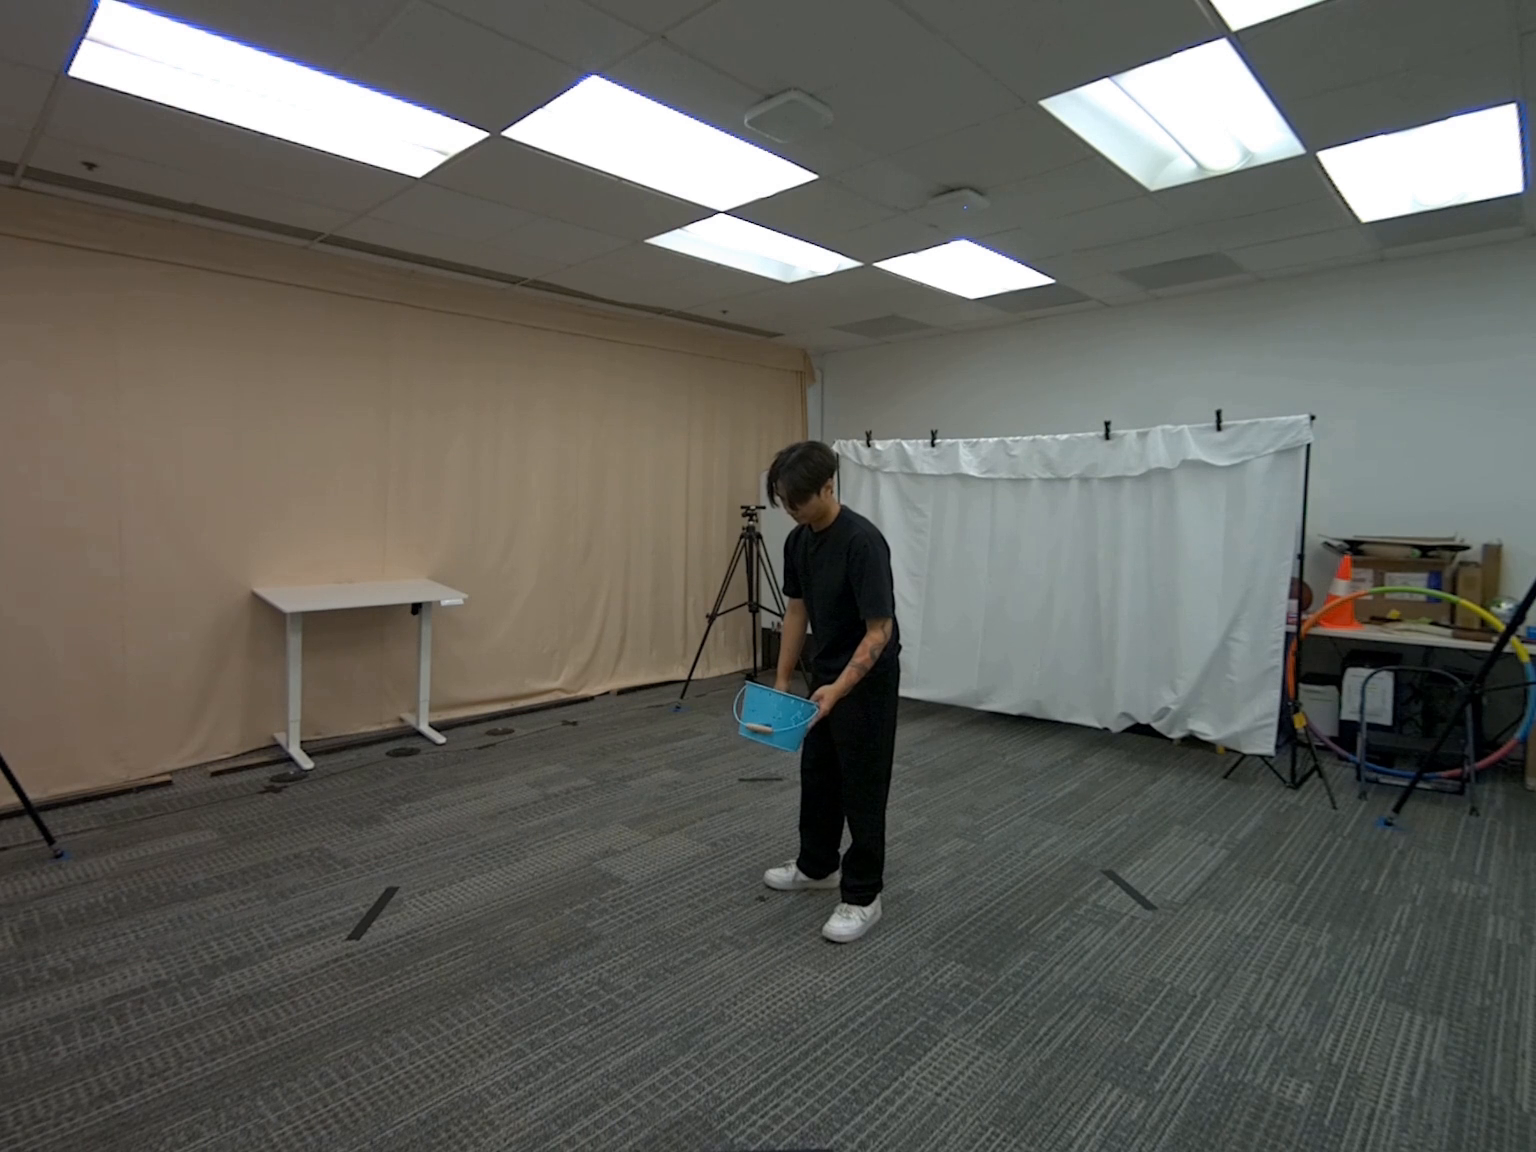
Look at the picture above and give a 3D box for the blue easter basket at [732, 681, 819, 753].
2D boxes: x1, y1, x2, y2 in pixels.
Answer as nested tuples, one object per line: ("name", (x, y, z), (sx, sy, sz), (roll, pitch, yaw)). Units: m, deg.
("blue easter basket", (0.020, 0.425, 2.478), (0.244, 0.156, 0.242), (16, -9, 1))
